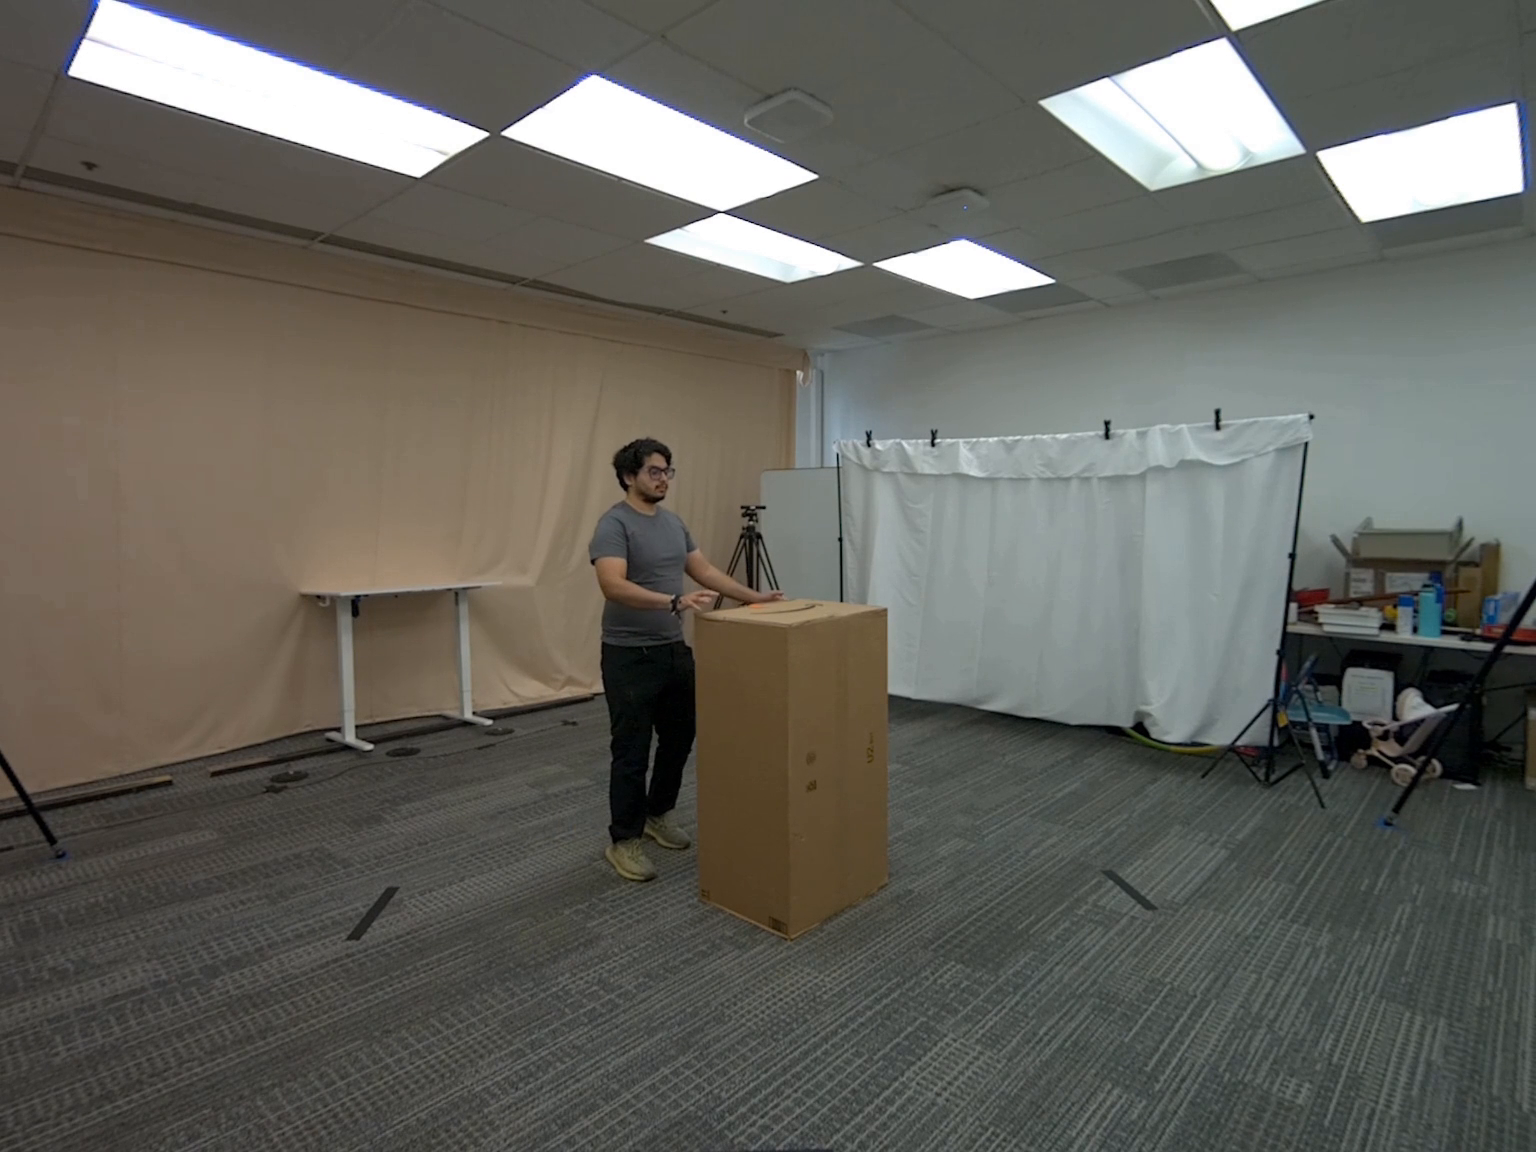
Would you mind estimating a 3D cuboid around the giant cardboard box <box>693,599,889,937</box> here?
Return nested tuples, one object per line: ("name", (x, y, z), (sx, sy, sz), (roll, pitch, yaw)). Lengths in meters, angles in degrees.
("giant cardboard box", (0.095, 0.632, 3.011), (0.440, 1.024, 0.560), (3, 4, 43))
